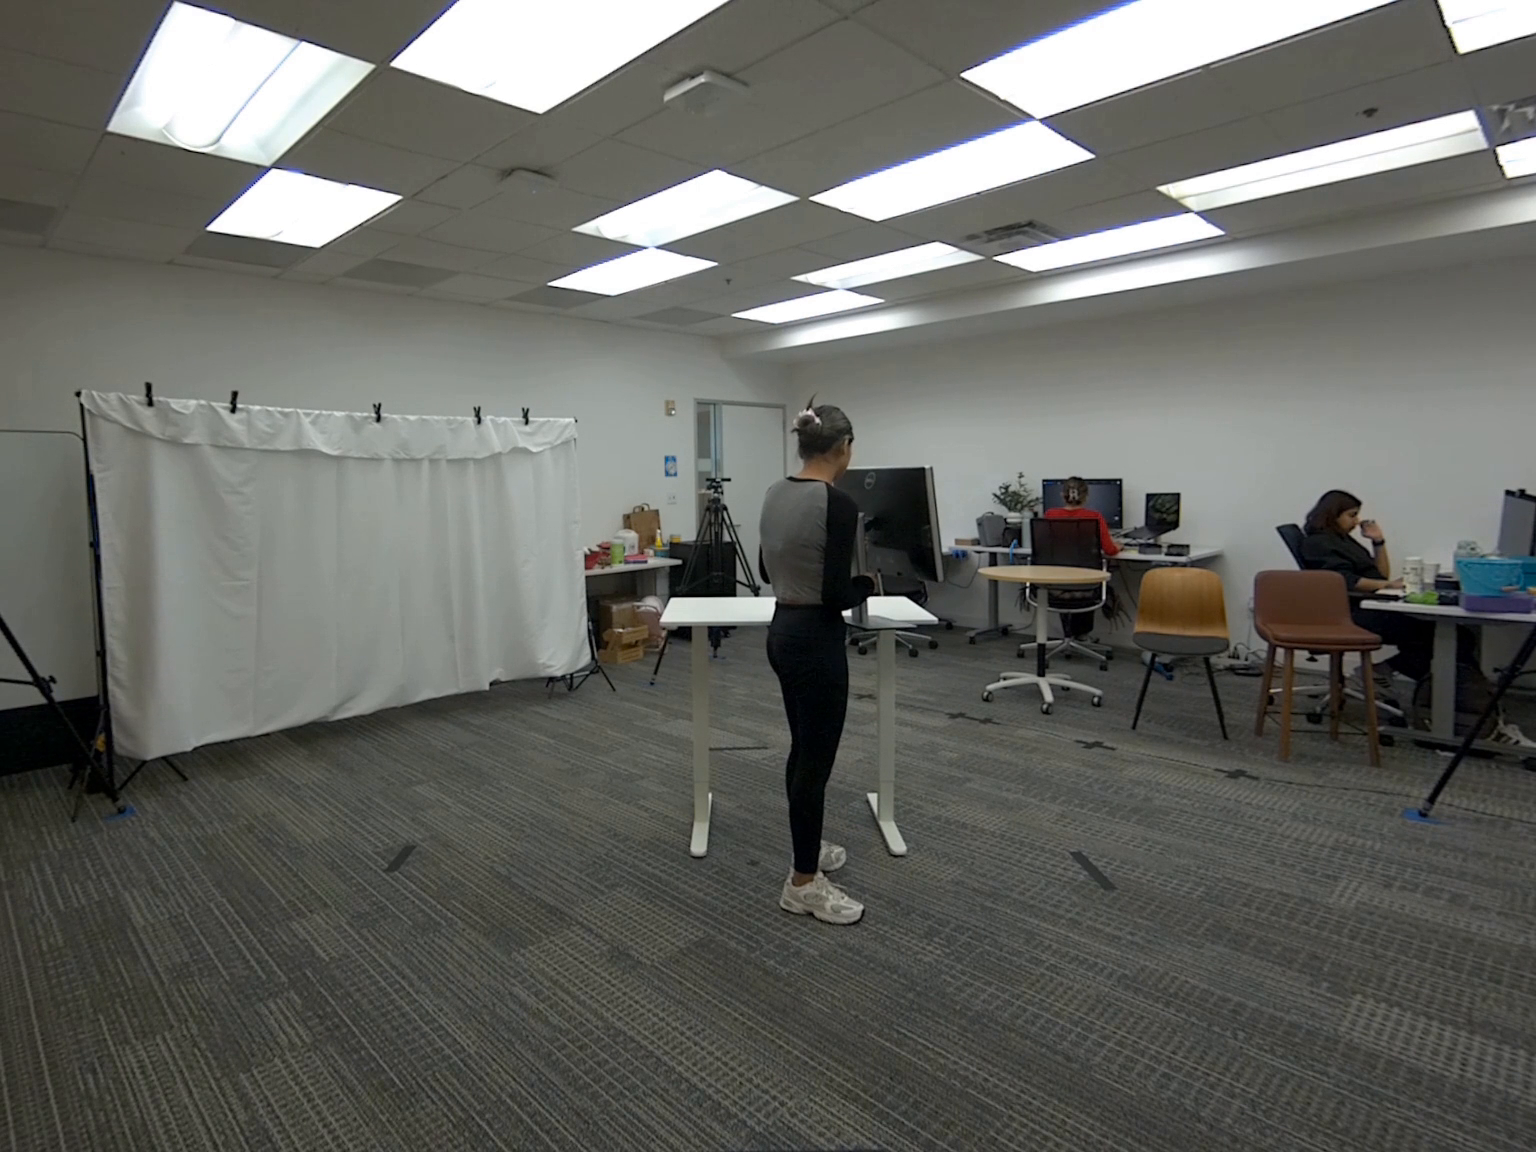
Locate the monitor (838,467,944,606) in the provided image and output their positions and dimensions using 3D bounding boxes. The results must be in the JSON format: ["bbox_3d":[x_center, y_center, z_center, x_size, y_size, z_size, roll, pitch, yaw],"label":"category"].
[{"bbox_3d":[0.350,-0.094,2.840,0.182,0.521,0.553,2,4,-28],"label":"monitor"}]
